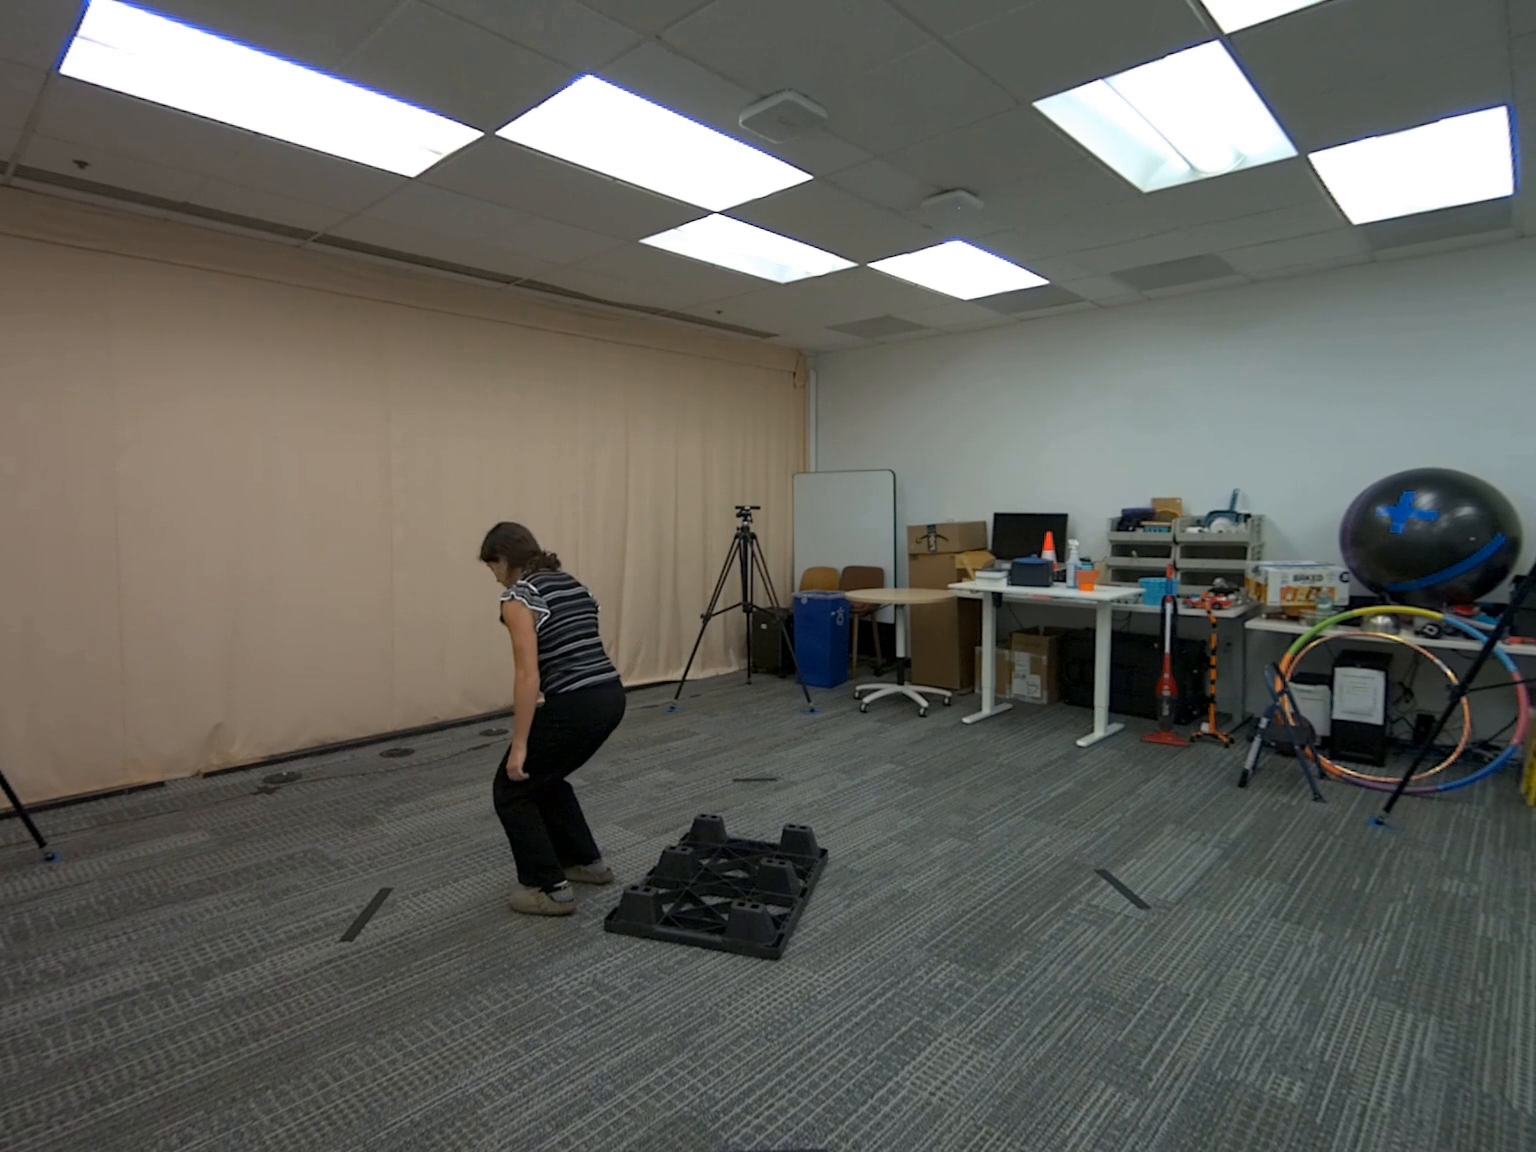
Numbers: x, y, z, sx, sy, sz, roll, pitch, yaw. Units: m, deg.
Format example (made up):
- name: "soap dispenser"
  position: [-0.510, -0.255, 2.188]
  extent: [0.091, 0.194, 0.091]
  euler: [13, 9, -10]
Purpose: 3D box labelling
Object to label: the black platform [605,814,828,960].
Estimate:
- name: "black platform"
  position: [-0.148, 1.074, 3.030]
  extent: [0.616, 0.143, 0.793]
  euler: [1, 5, 16]
